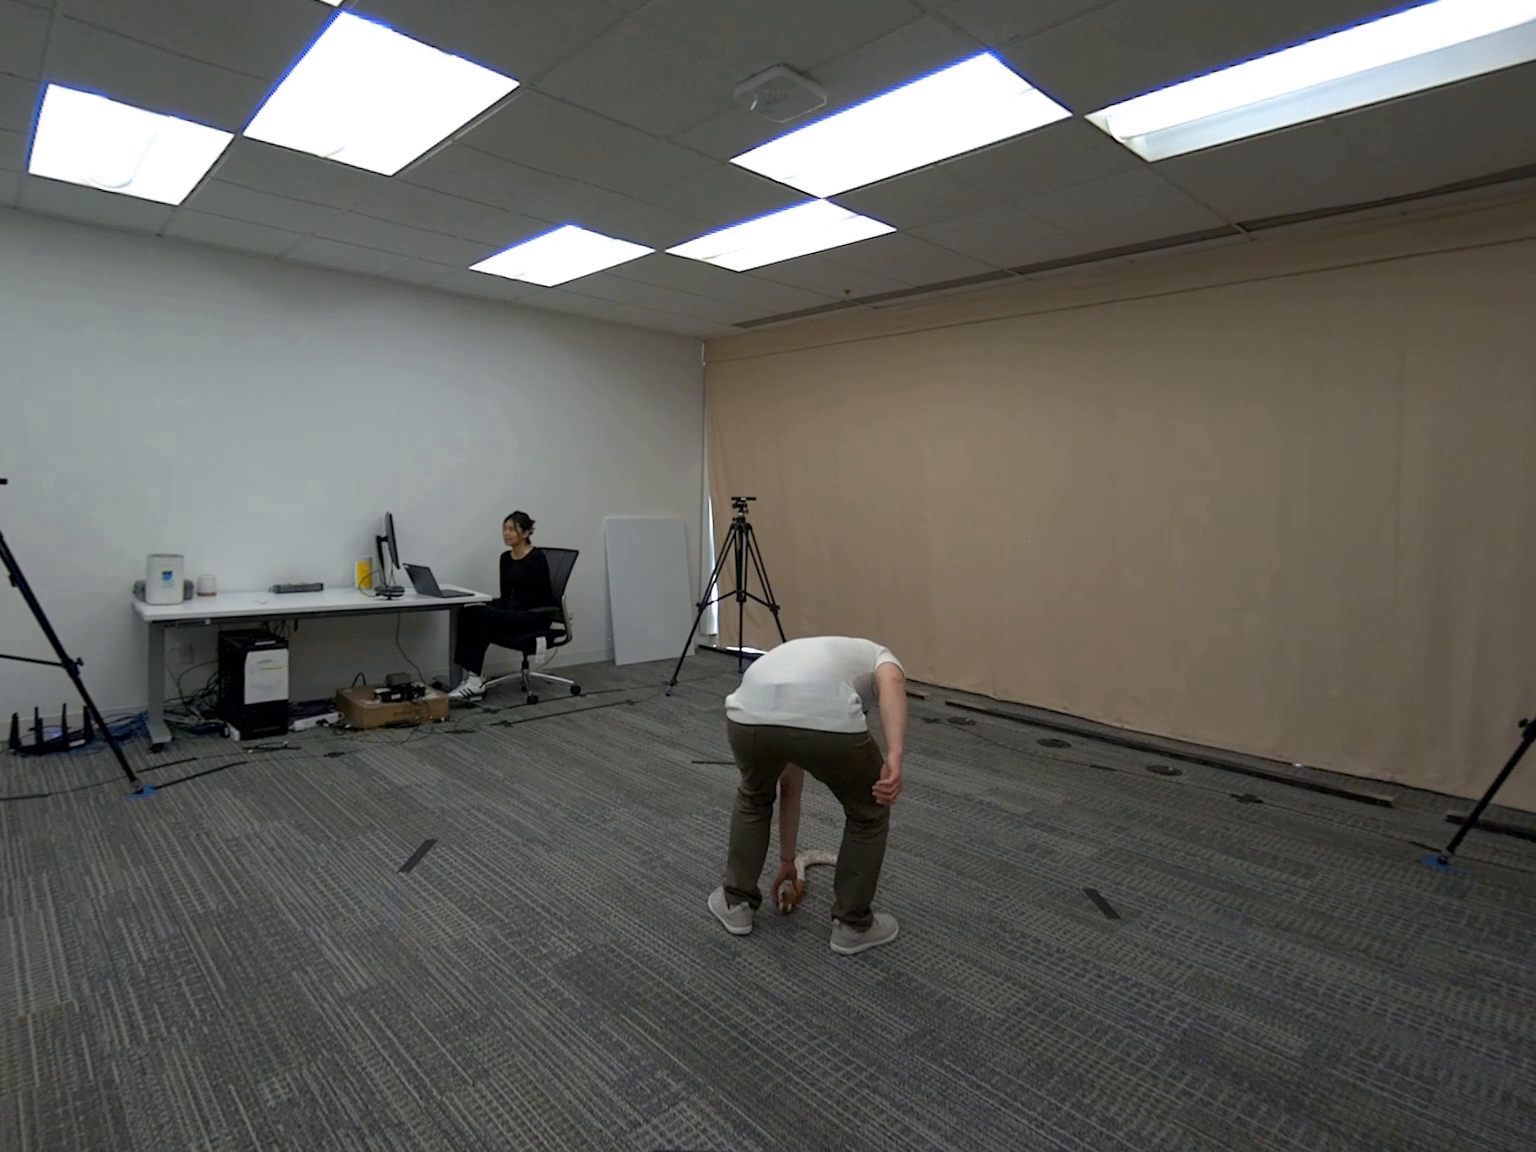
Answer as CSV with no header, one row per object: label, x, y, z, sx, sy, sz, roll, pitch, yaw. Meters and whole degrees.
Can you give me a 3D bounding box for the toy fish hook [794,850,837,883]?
toy fish hook,0.168,1.100,3.025,0.228,0.048,0.501,2,6,17
